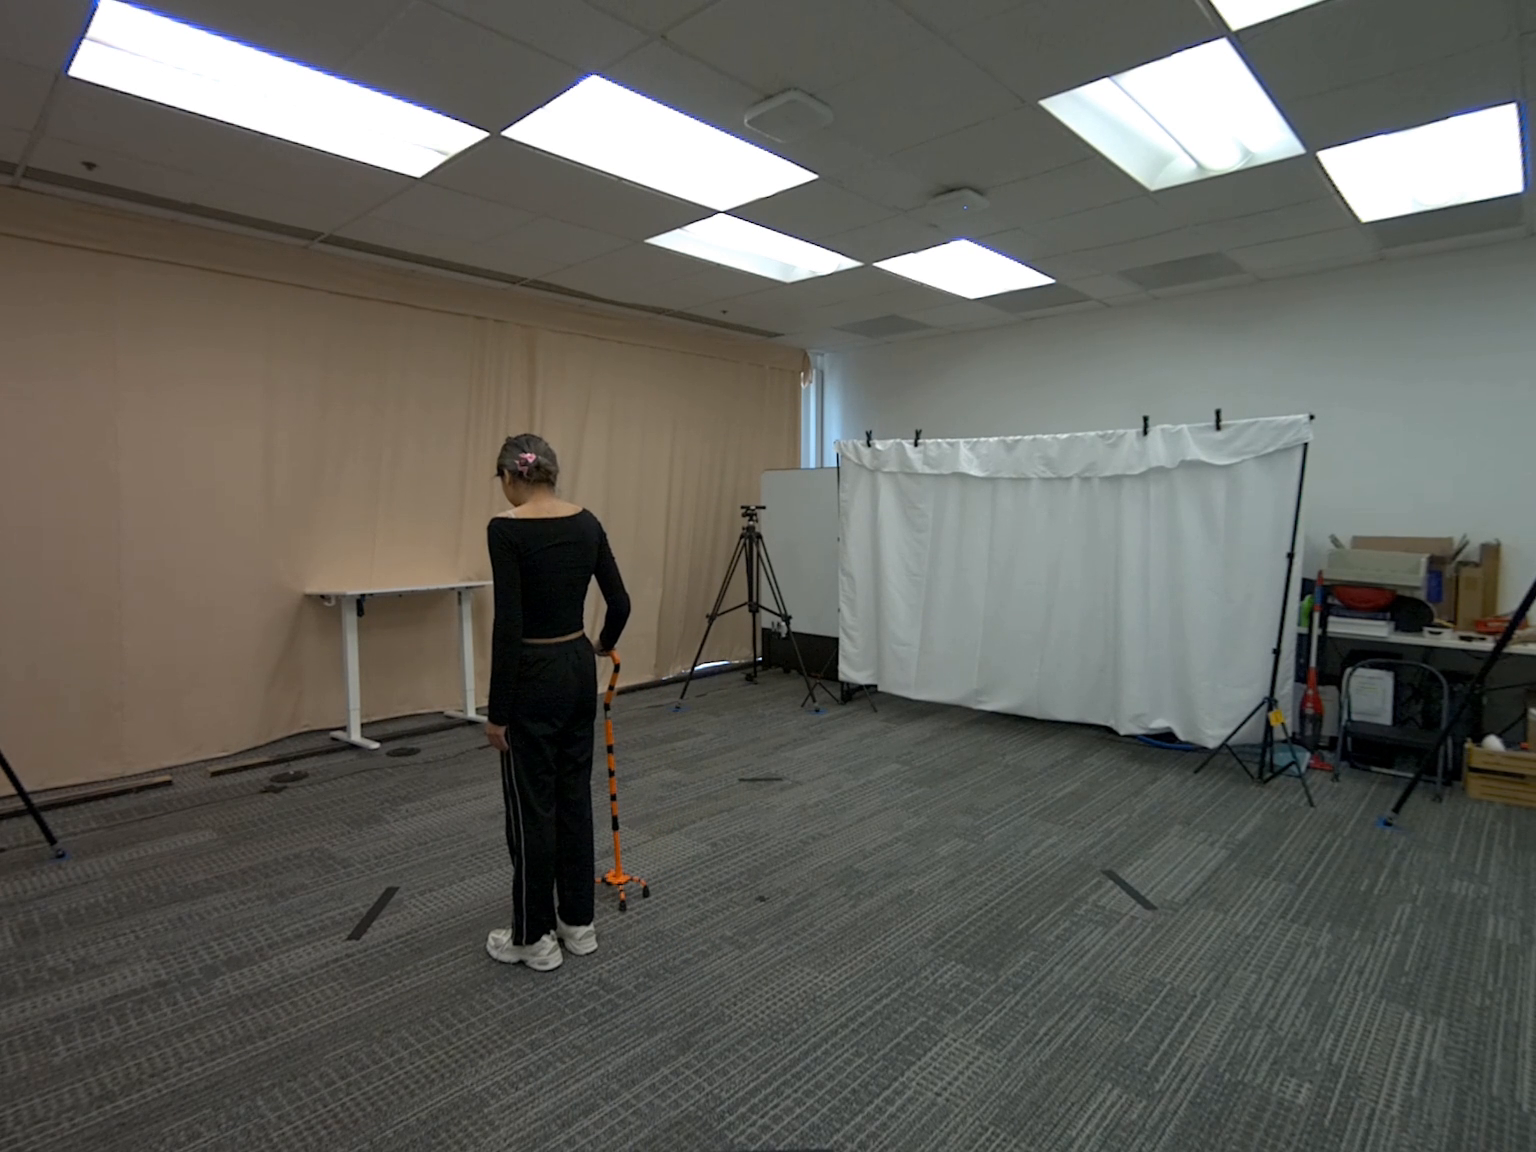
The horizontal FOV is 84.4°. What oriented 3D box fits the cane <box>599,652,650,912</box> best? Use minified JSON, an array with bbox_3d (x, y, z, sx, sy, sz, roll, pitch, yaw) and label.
[{"bbox_3d":[-0.560,0.695,2.967,0.212,0.905,0.148,1,5,31],"label":"cane"}]
